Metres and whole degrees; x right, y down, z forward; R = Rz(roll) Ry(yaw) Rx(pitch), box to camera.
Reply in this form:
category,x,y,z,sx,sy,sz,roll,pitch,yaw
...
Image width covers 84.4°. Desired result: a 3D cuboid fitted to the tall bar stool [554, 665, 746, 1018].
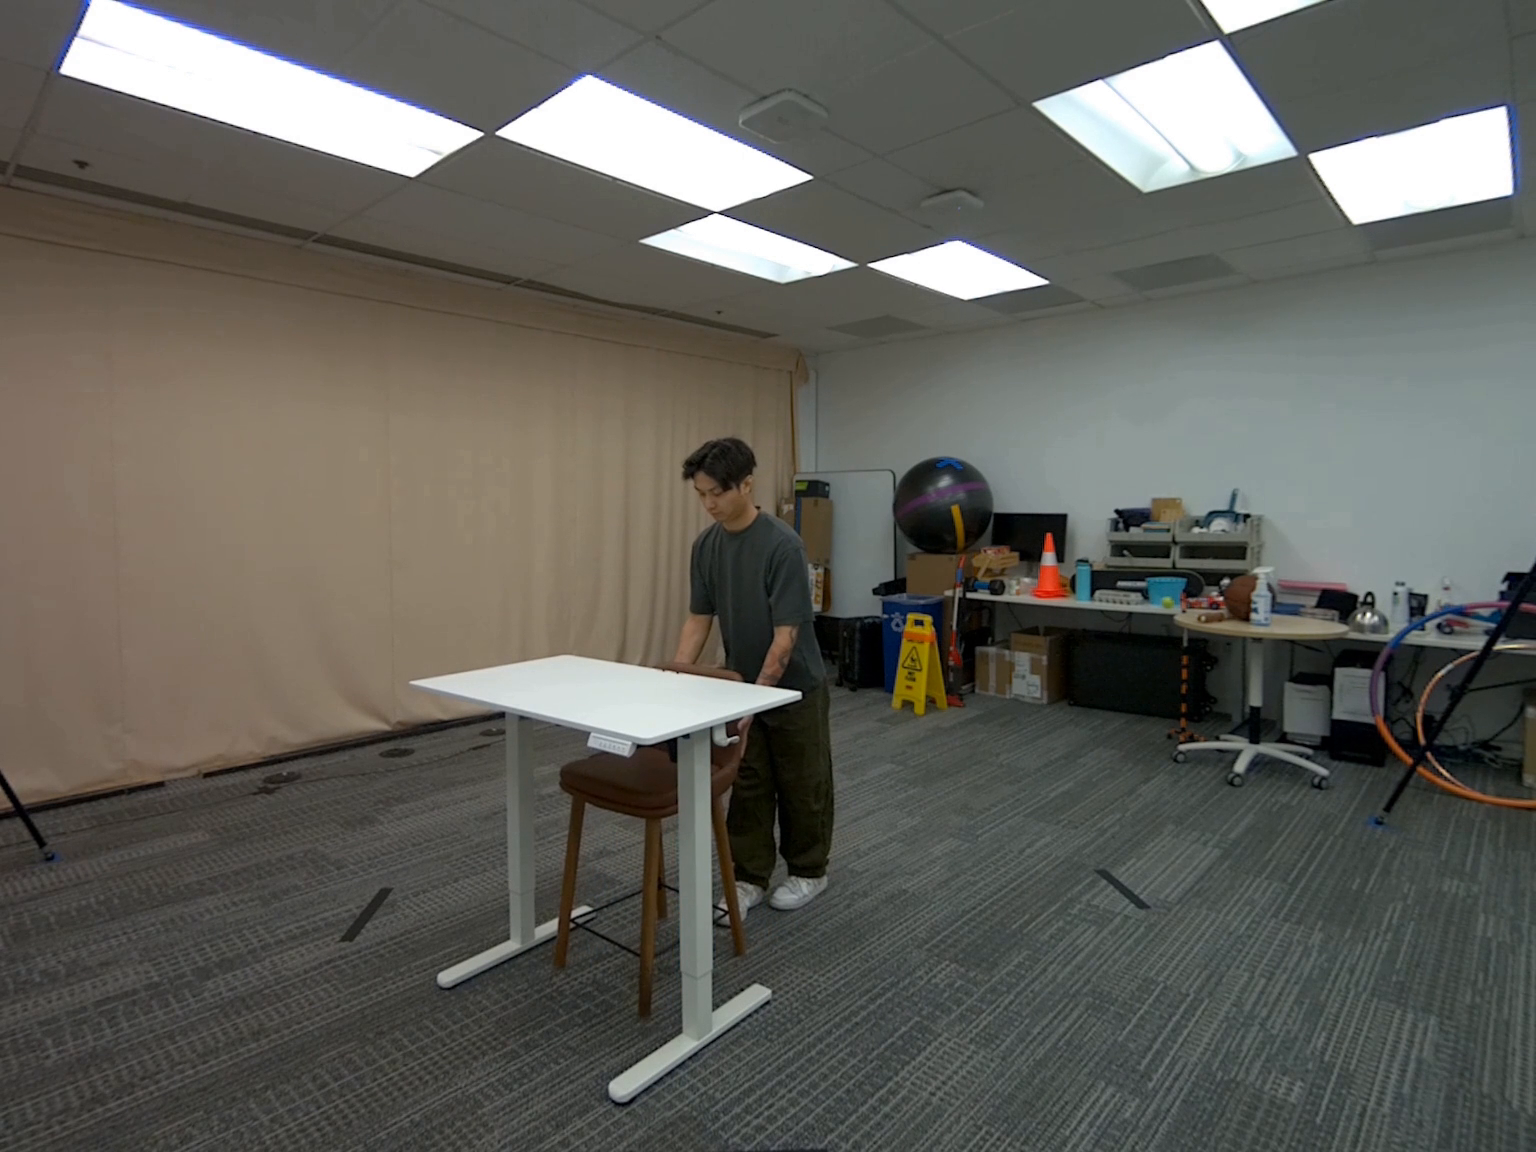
category,x,y,z,sx,sy,sz,roll,pitch,yaw
tall bar stool,-0.346,0.743,2.563,0.471,0.889,0.453,2,1,40
